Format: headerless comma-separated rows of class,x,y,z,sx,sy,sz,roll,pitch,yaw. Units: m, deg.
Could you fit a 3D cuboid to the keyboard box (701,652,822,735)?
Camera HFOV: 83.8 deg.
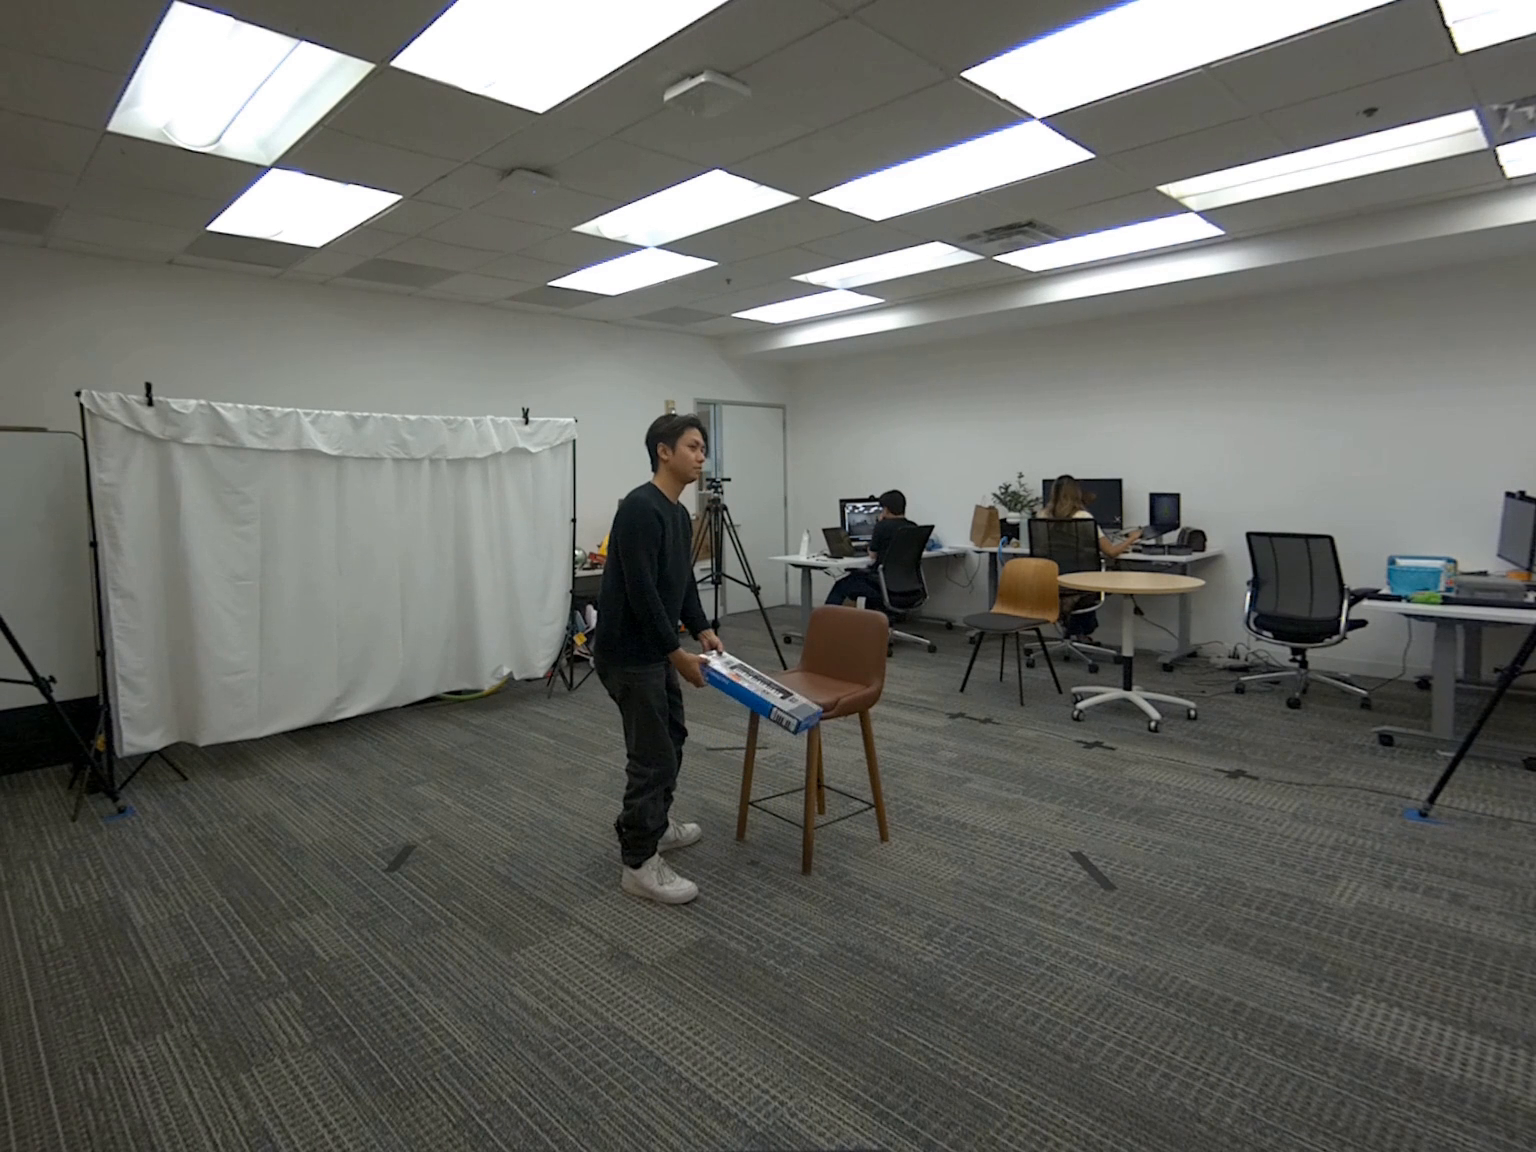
keyboard box,-0.046,0.381,2.875,0.450,0.058,0.172,26,17,26
